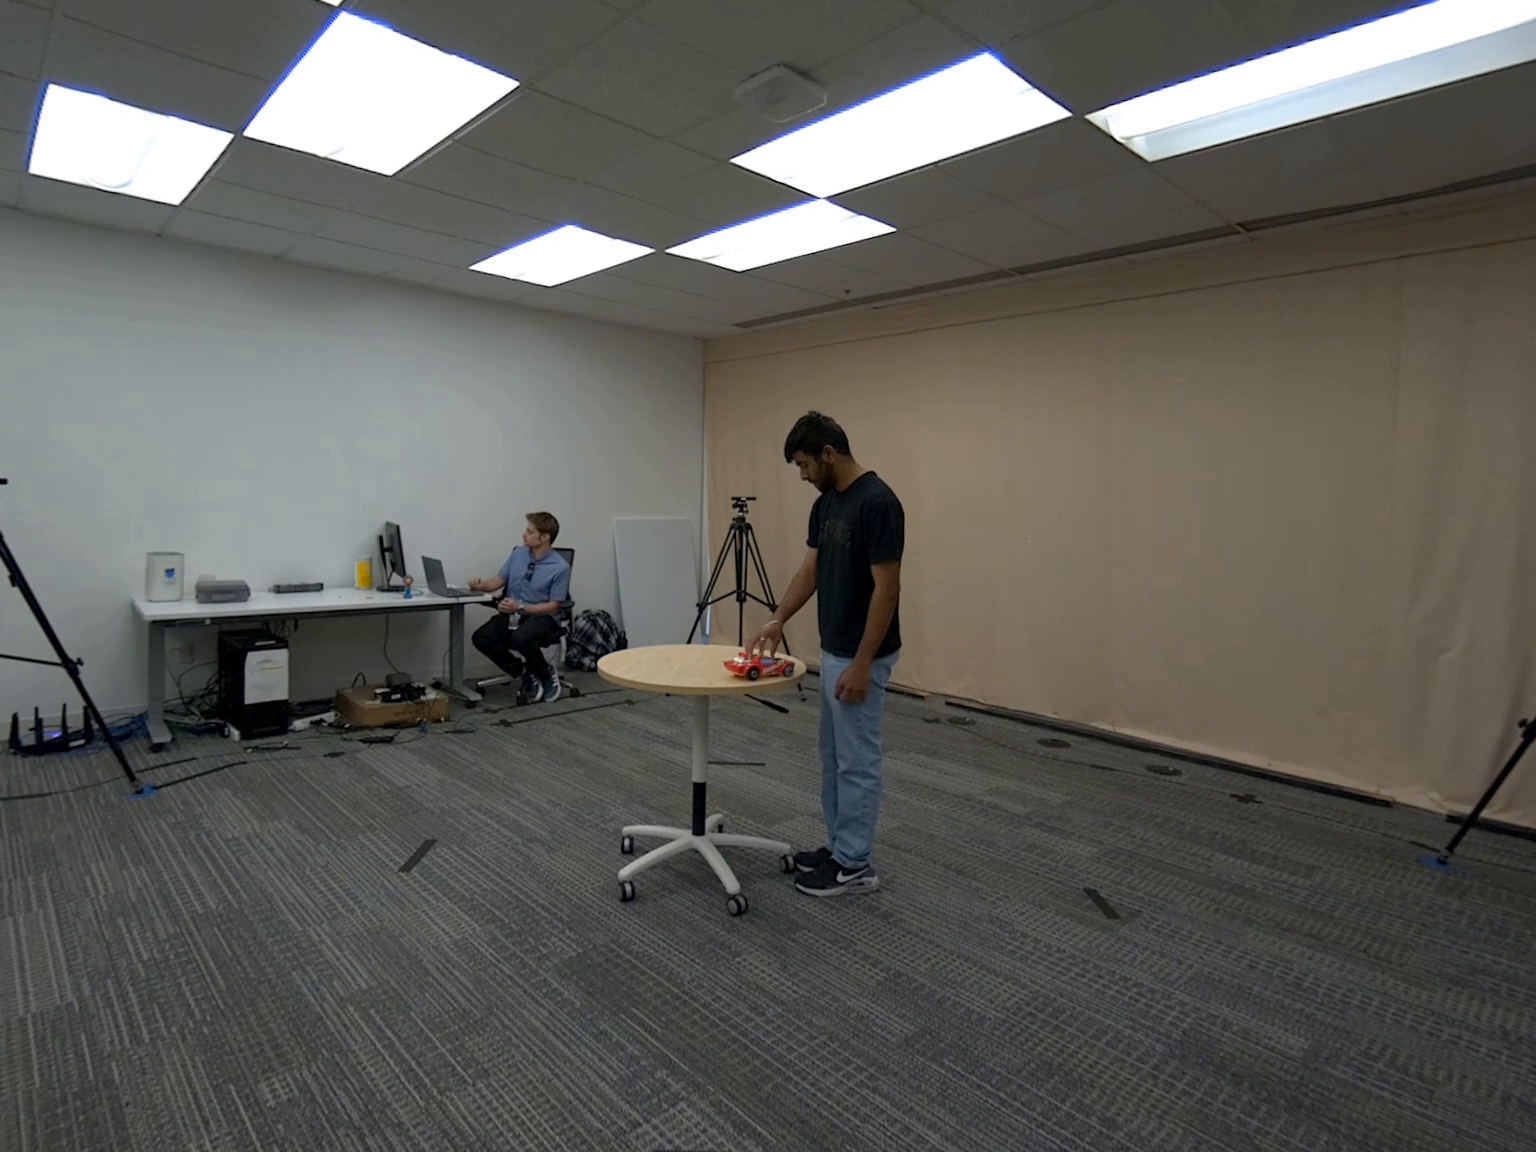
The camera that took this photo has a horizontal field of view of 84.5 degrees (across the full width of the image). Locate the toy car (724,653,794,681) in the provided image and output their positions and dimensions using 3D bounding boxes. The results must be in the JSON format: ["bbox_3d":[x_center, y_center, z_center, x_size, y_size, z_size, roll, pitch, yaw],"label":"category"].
[{"bbox_3d":[-0.040,0.314,2.896,0.248,0.083,0.133,12,-1,-31],"label":"toy car"}]
